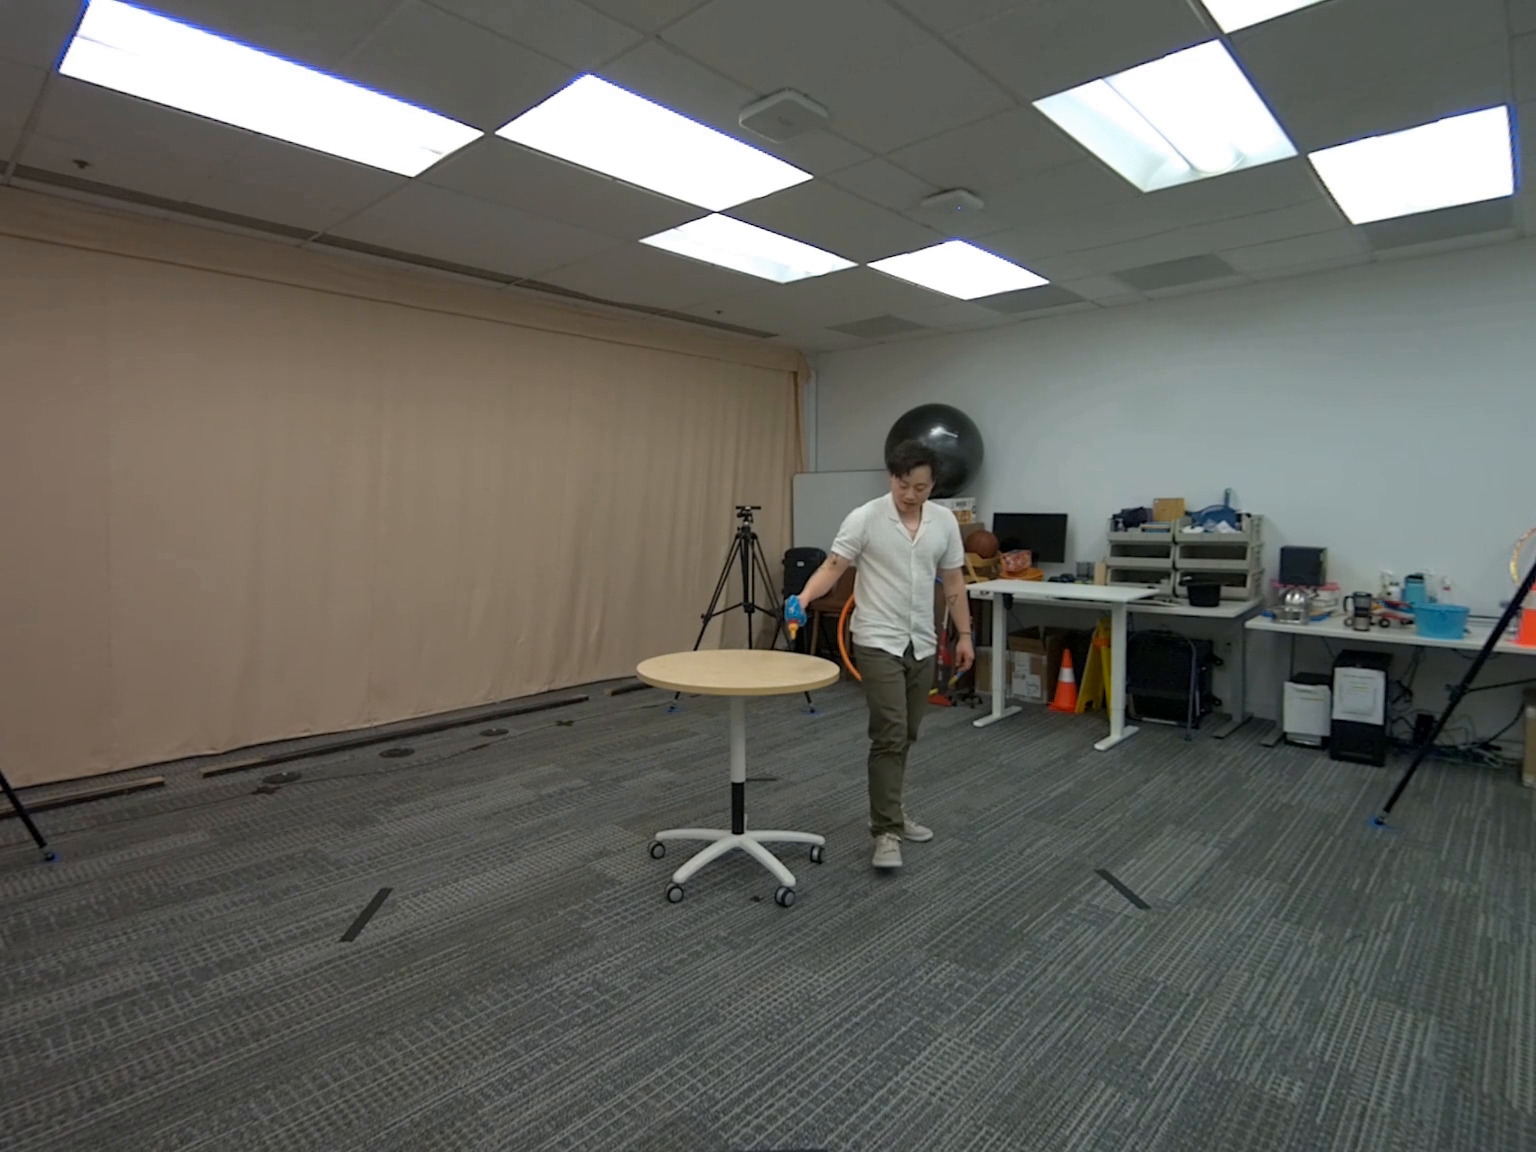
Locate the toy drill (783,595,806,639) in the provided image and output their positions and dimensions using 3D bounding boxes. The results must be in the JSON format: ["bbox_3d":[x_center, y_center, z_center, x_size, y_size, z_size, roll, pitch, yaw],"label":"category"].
[{"bbox_3d":[0.108,0.171,3.168,0.062,0.172,0.142,-6,-24,11],"label":"toy drill"}]
